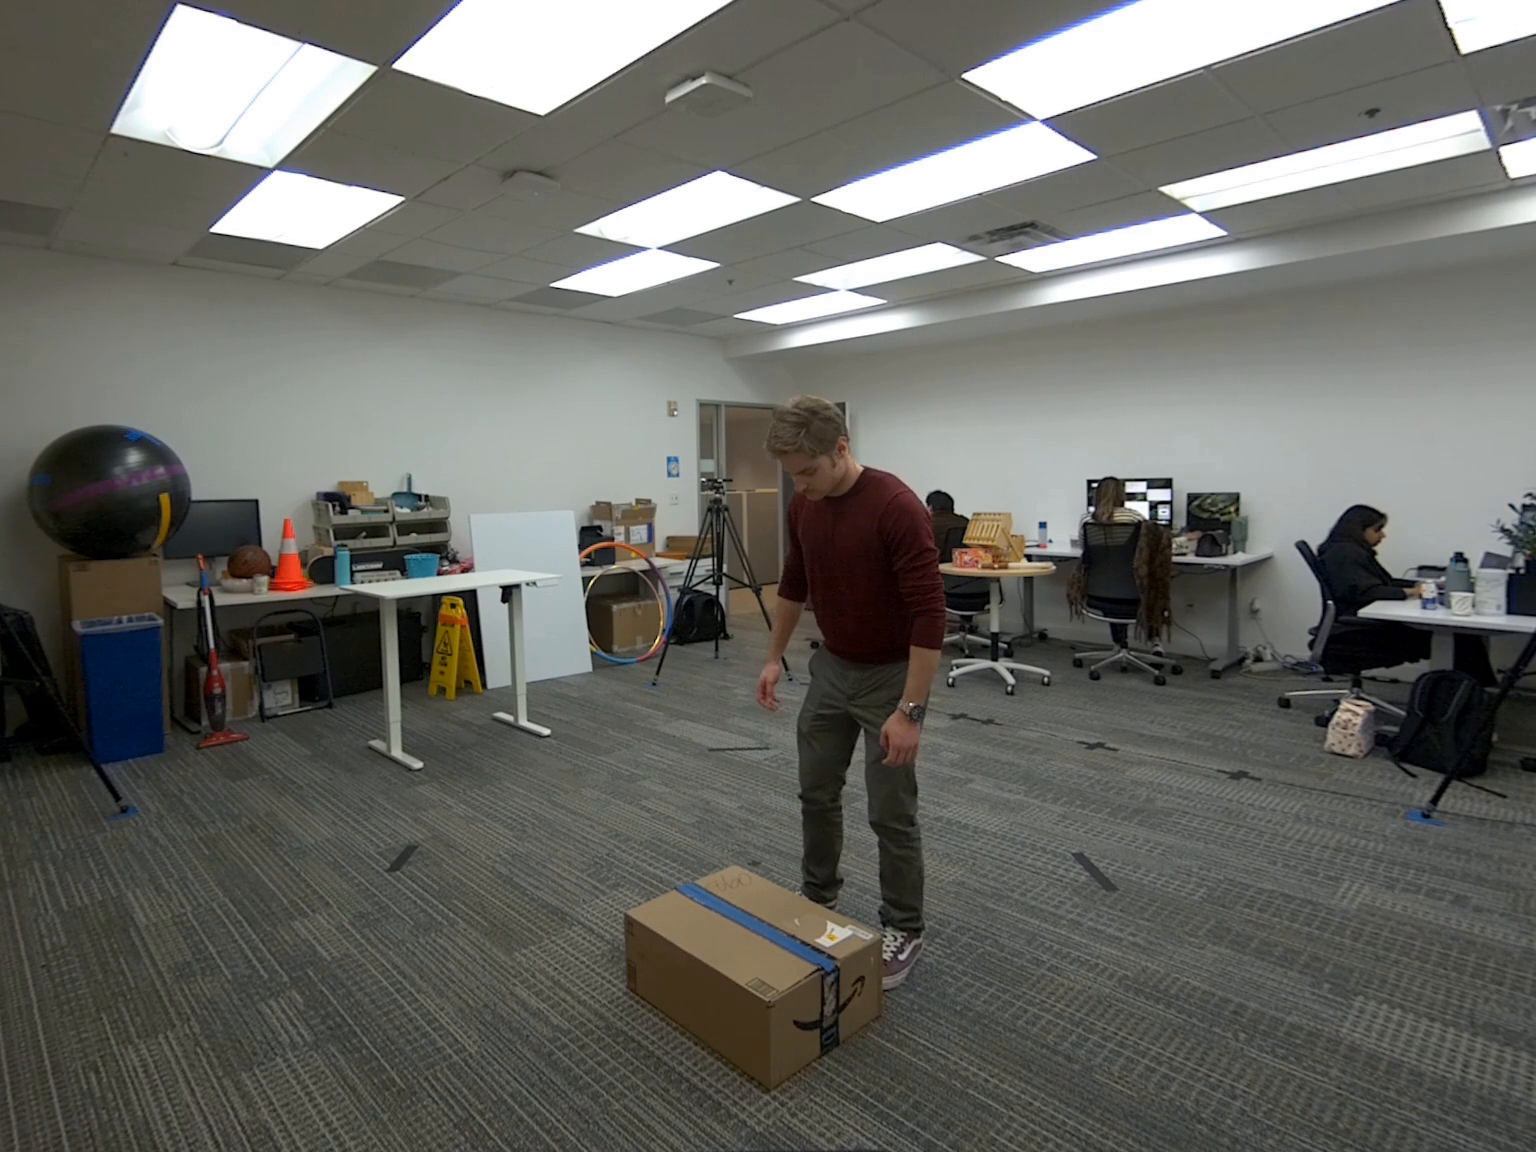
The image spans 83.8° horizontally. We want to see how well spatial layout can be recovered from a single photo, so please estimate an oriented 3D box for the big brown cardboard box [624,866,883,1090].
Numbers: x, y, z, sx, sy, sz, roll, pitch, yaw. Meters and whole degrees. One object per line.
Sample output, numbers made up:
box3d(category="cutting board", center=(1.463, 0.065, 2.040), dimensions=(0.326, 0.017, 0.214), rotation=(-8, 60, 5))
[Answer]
box3d(category="big brown cardboard box", center=(-0.045, 1.026, 2.285), dimensions=(0.407, 0.232, 0.607), rotation=(-7, 9, -43))
